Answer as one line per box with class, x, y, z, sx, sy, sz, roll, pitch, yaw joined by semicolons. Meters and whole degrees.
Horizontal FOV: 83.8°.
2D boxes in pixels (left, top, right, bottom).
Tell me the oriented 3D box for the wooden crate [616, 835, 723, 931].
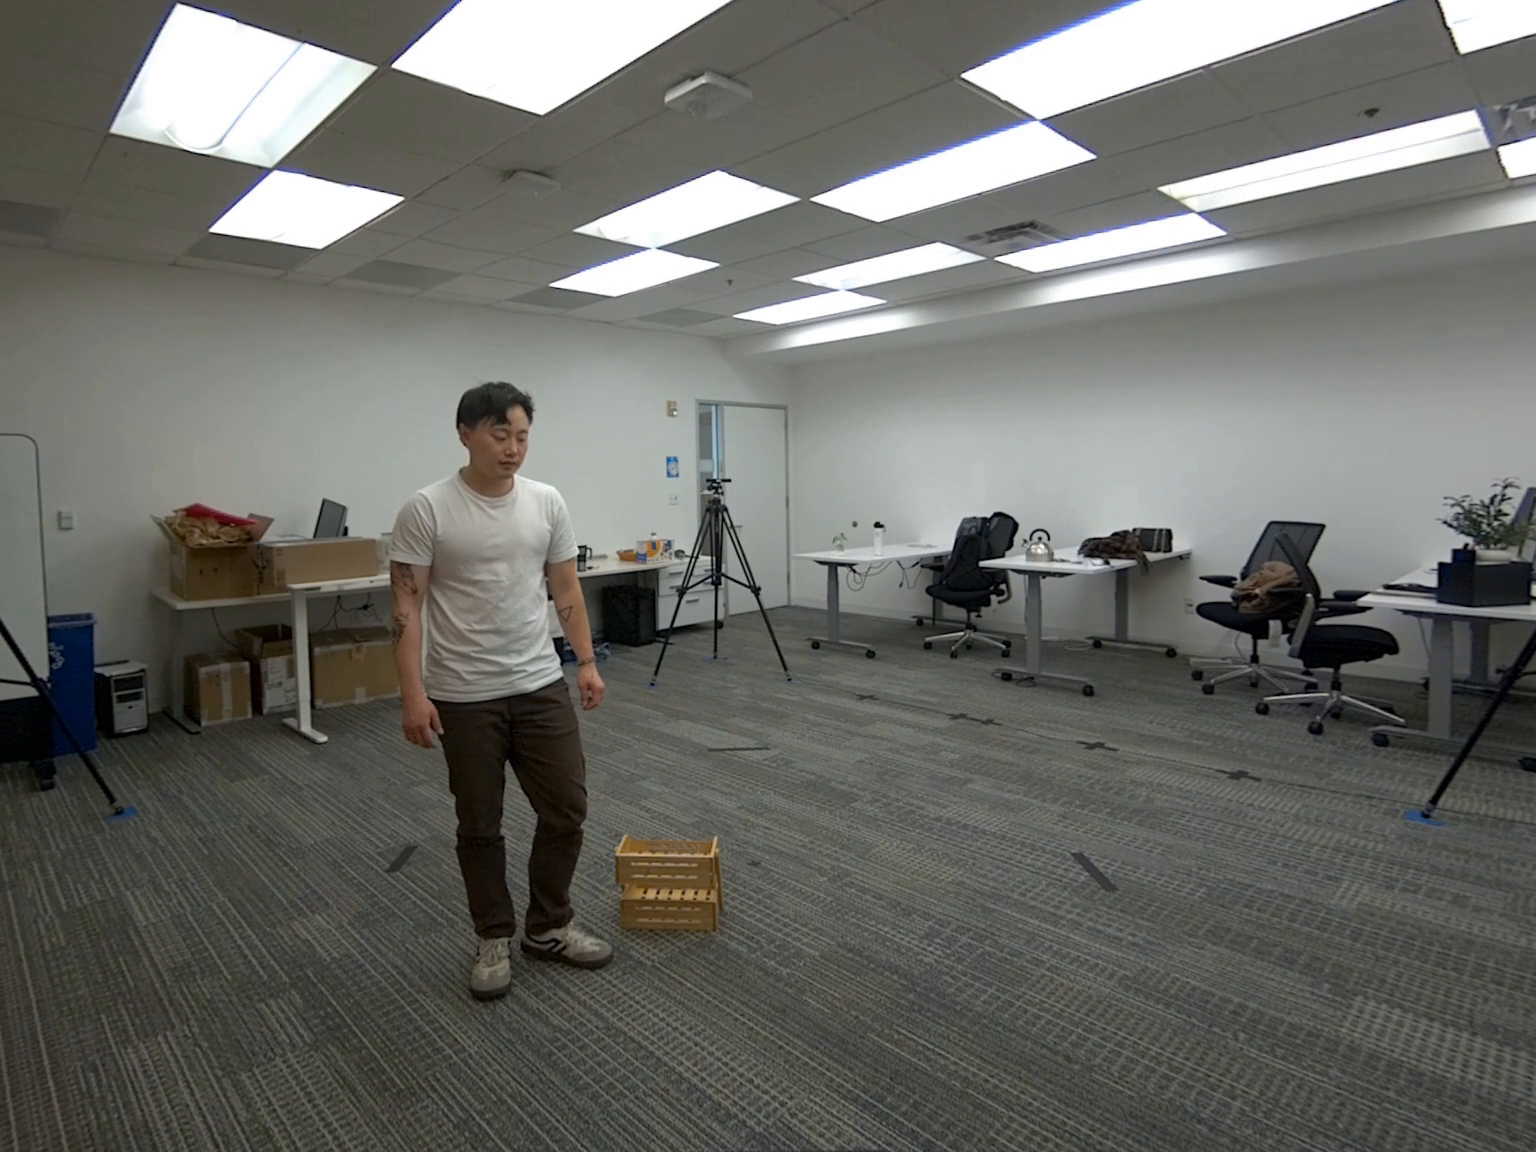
wooden crate;-0.308;0.955;2.753;0.326;0.272;0.302;-1;6;3
